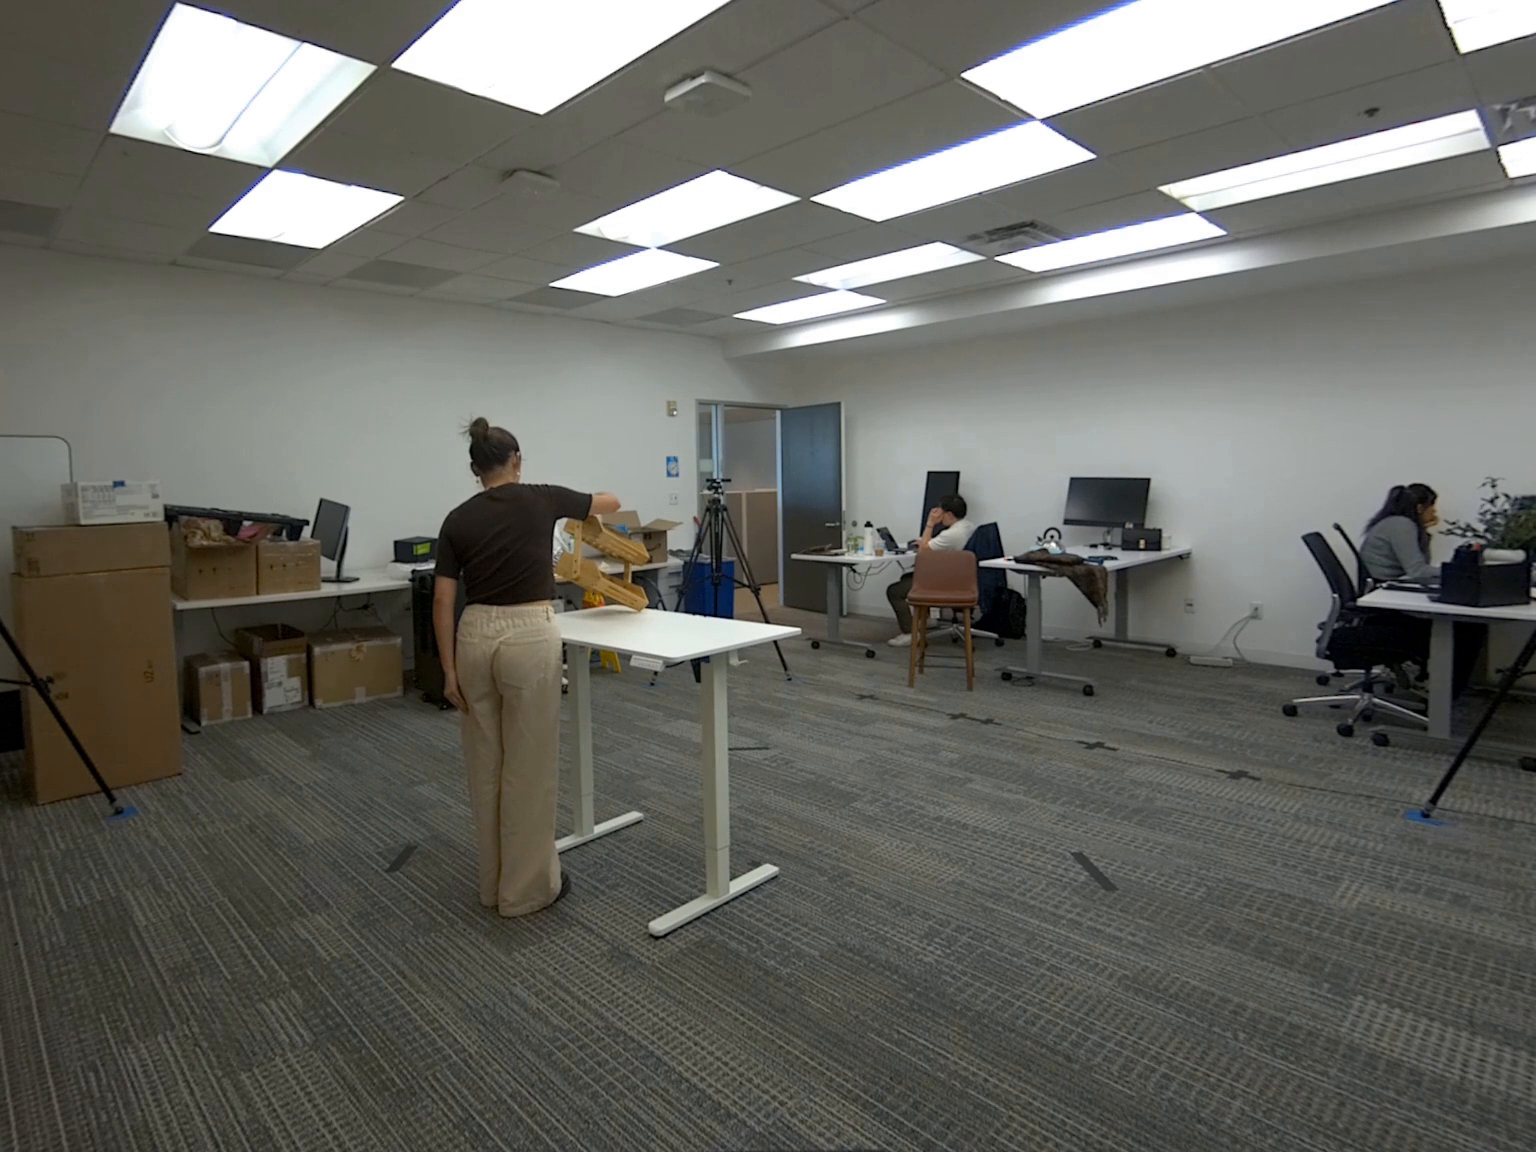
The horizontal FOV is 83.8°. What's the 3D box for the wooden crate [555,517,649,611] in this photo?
[{"bbox_3d":[-0.623,-0.061,3.368,0.312,0.274,0.312,16,-11,36],"label":"wooden crate"}]
